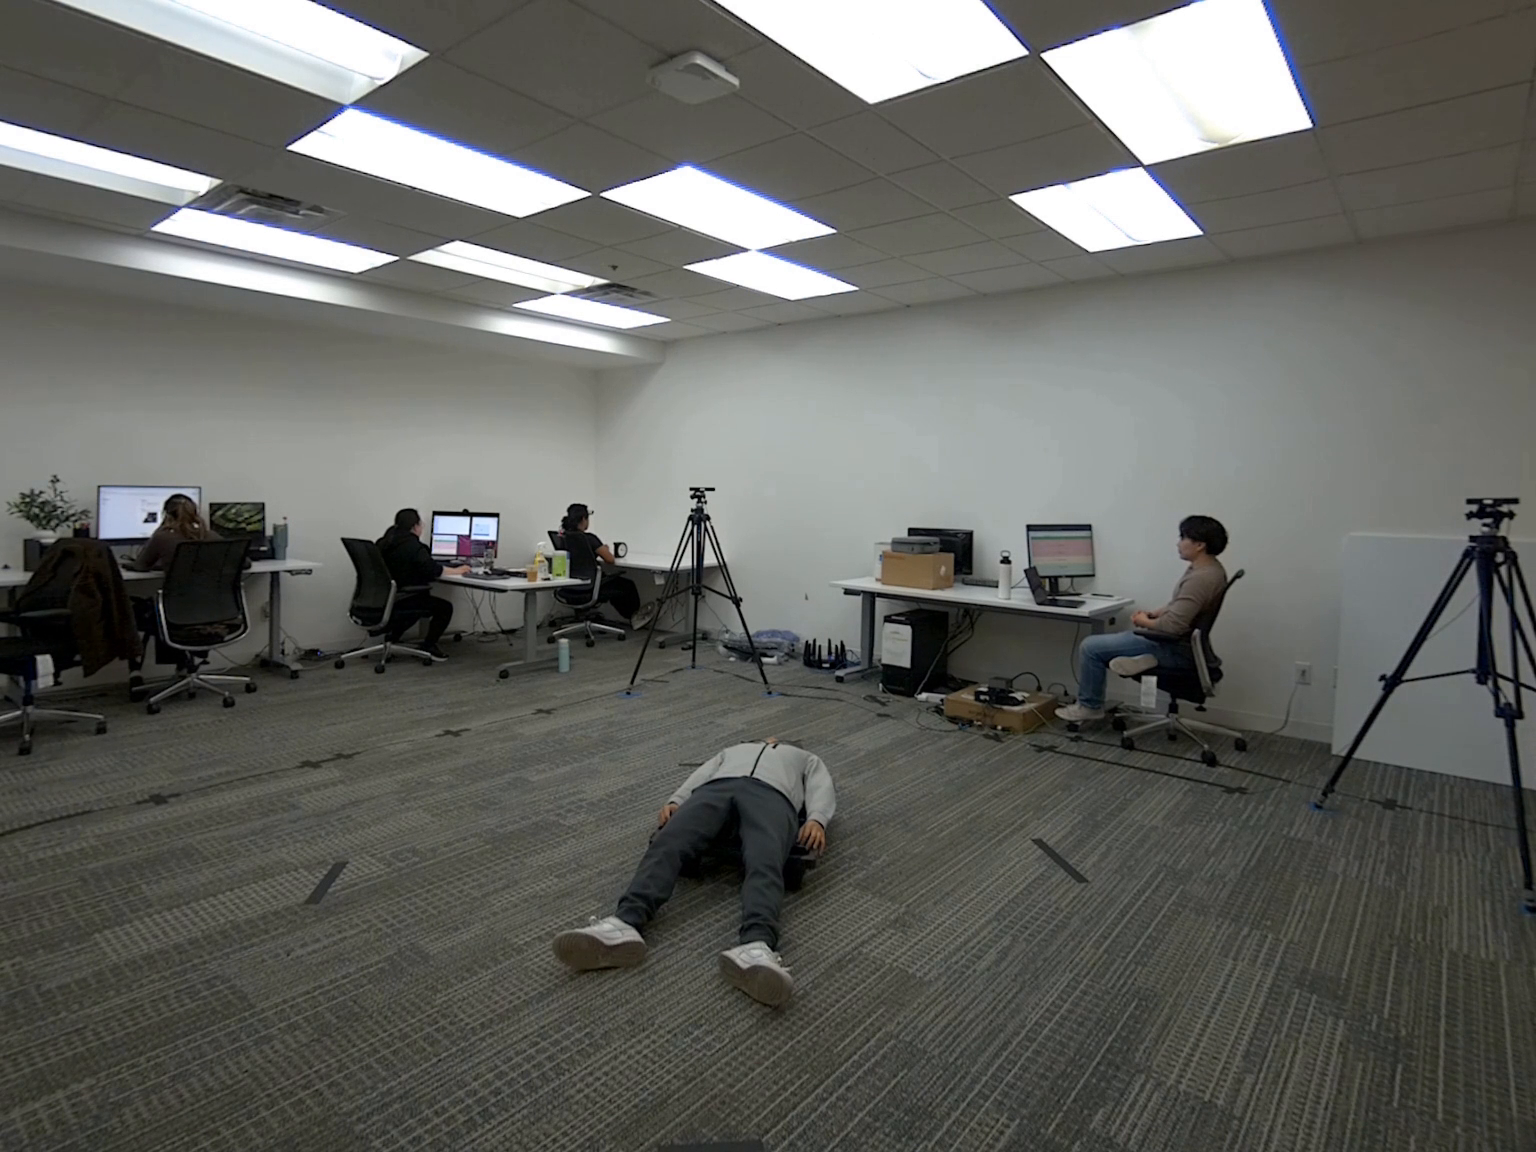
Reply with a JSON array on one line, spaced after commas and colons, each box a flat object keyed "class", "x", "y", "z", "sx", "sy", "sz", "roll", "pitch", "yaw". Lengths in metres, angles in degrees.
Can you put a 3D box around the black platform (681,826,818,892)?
[{"class": "black platform", "x": -0.081, "y": 0.961, "z": 3.352, "sx": 0.614, "sy": 0.143, "sz": 0.795, "roll": -1, "pitch": 4, "yaw": 13}]
